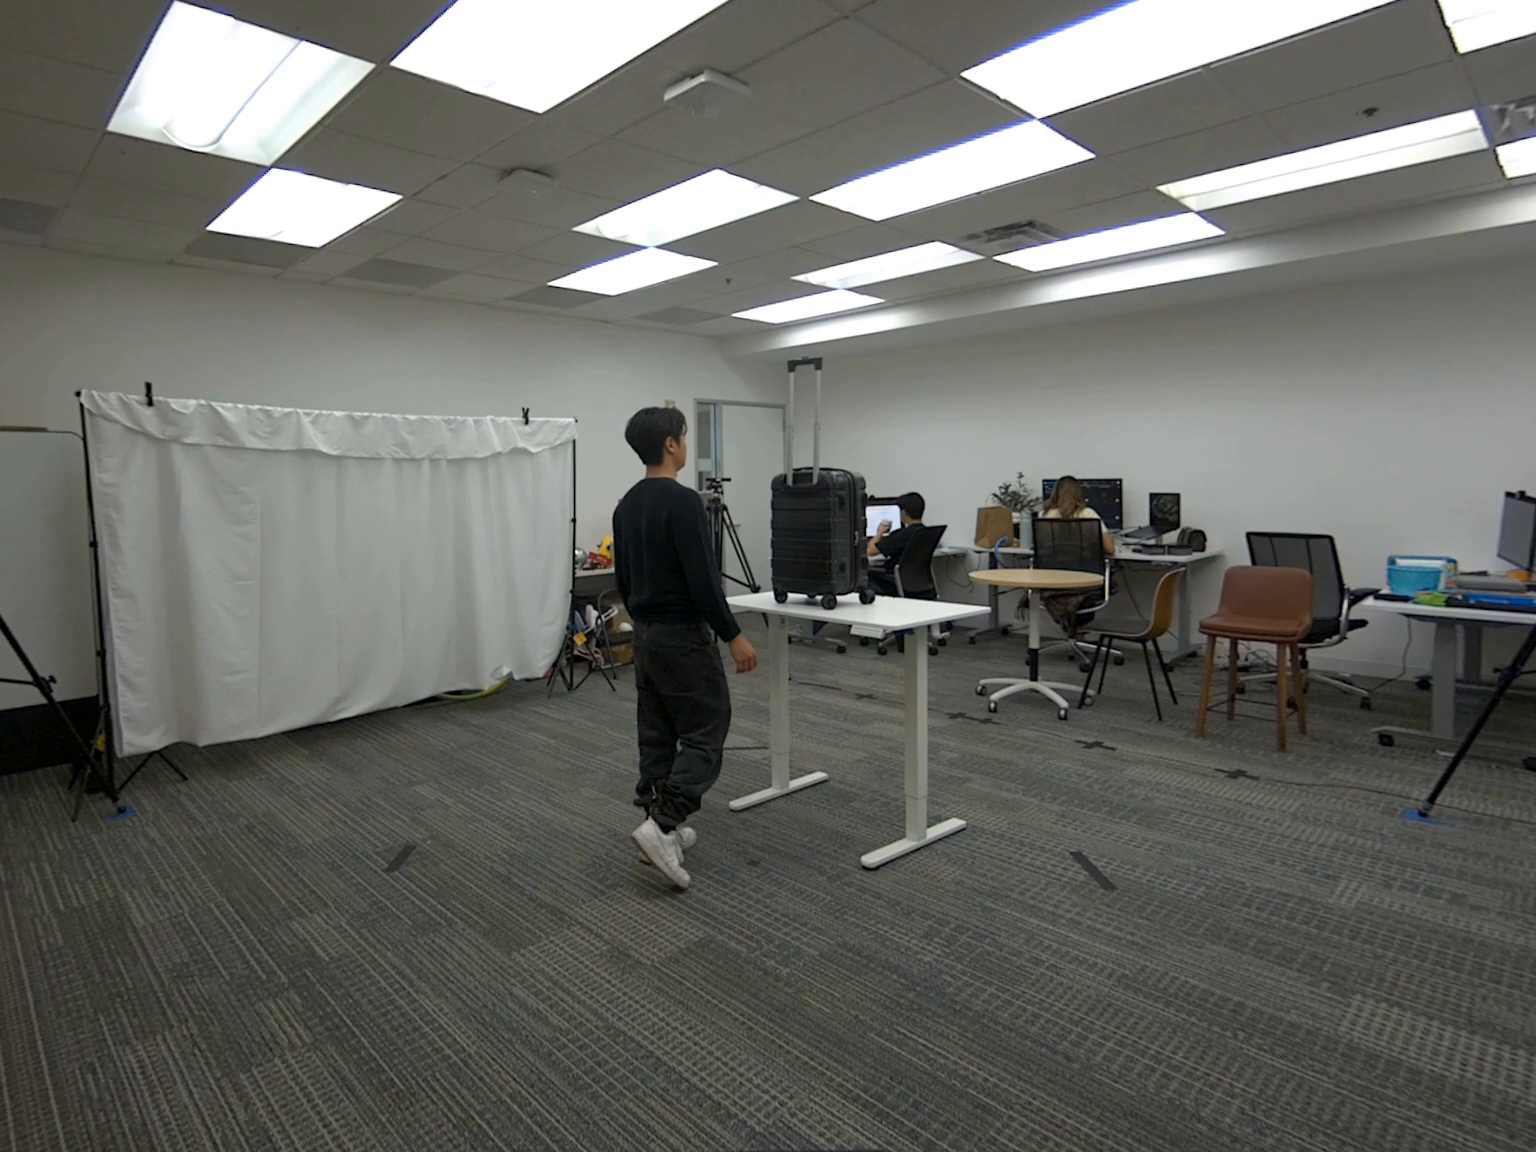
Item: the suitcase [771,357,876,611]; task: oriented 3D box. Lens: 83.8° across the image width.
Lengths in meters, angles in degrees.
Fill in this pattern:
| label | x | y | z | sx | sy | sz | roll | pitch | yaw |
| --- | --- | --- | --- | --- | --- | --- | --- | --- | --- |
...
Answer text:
| label | x | y | z | sx | sy | sz | roll | pitch | yaw |
| --- | --- | --- | --- | --- | --- | --- | --- | --- | --- |
| suitcase | 0.207 | -0.370 | 3.472 | 0.396 | 0.976 | 0.250 | 3 | 4 | 44 |
